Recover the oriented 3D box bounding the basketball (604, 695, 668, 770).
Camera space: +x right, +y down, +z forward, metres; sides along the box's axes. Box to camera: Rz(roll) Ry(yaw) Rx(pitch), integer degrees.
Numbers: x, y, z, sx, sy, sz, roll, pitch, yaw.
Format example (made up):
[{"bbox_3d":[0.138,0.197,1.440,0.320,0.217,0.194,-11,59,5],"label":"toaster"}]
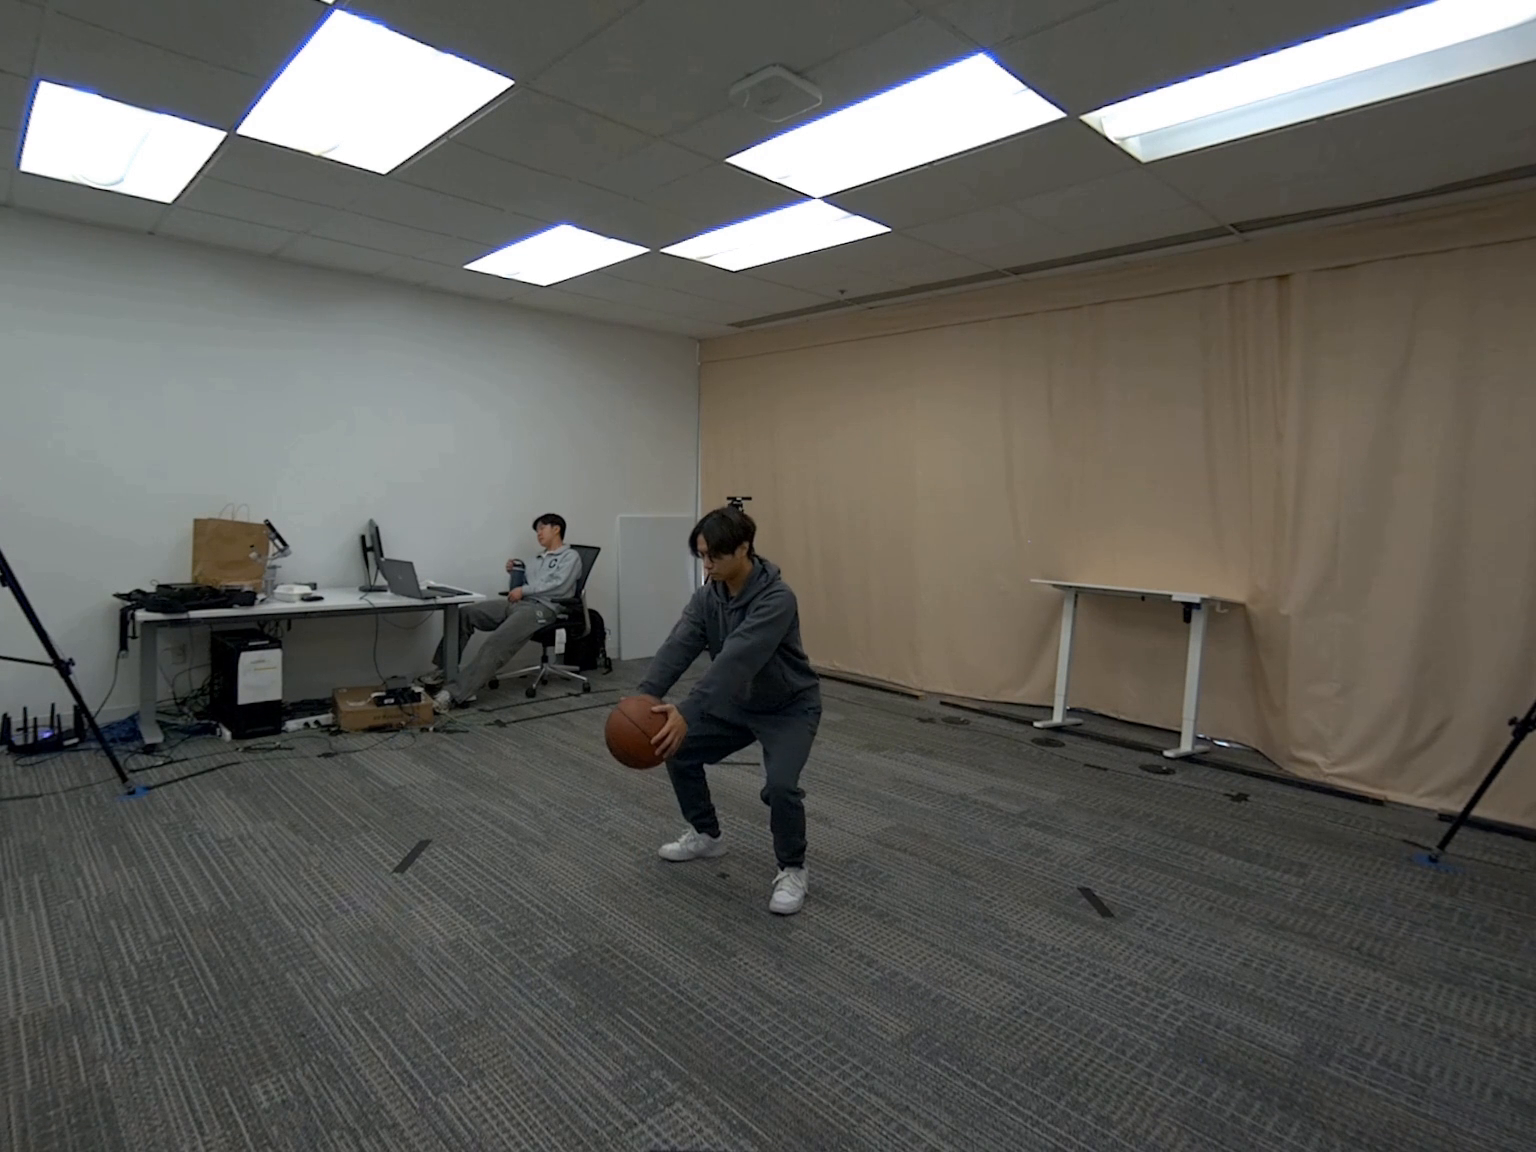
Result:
[{"bbox_3d":[-0.419,0.507,2.736,0.236,0.235,0.237,1,4,-1],"label":"basketball"}]
